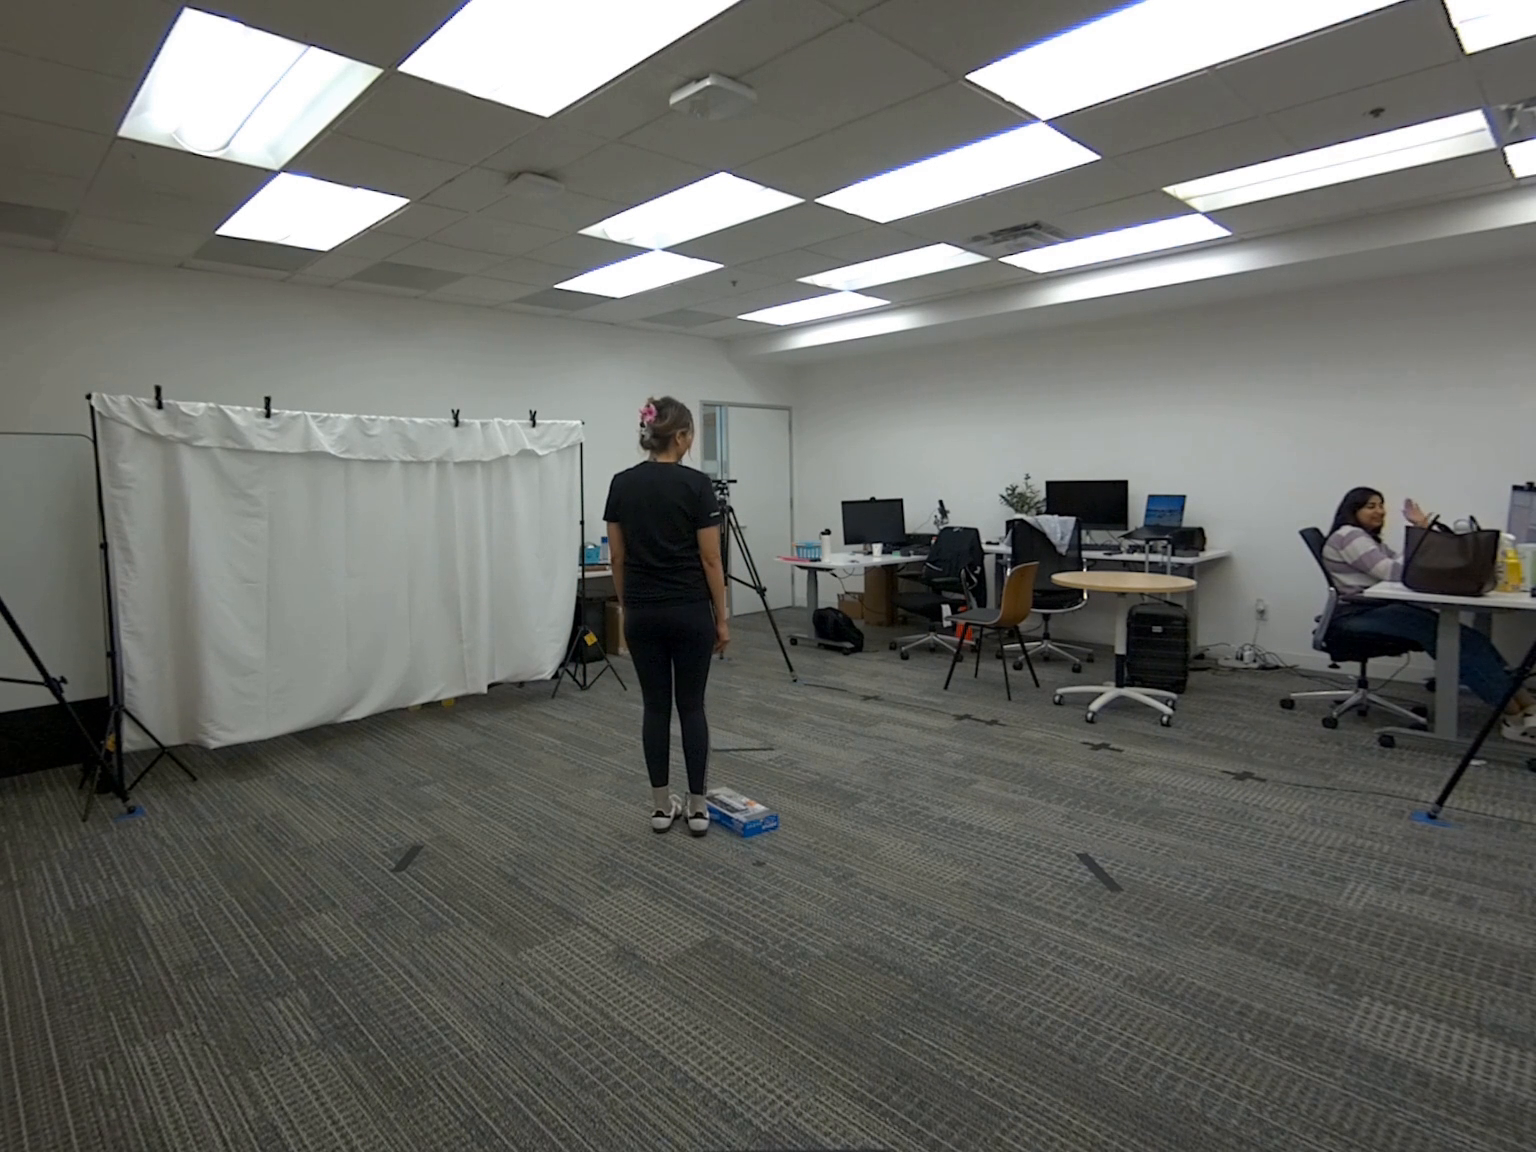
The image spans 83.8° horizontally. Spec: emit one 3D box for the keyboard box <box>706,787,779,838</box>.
[{"bbox_3d":[-0.154,0.967,3.564,0.171,0.059,0.450,-5,7,-35],"label":"keyboard box"}]
